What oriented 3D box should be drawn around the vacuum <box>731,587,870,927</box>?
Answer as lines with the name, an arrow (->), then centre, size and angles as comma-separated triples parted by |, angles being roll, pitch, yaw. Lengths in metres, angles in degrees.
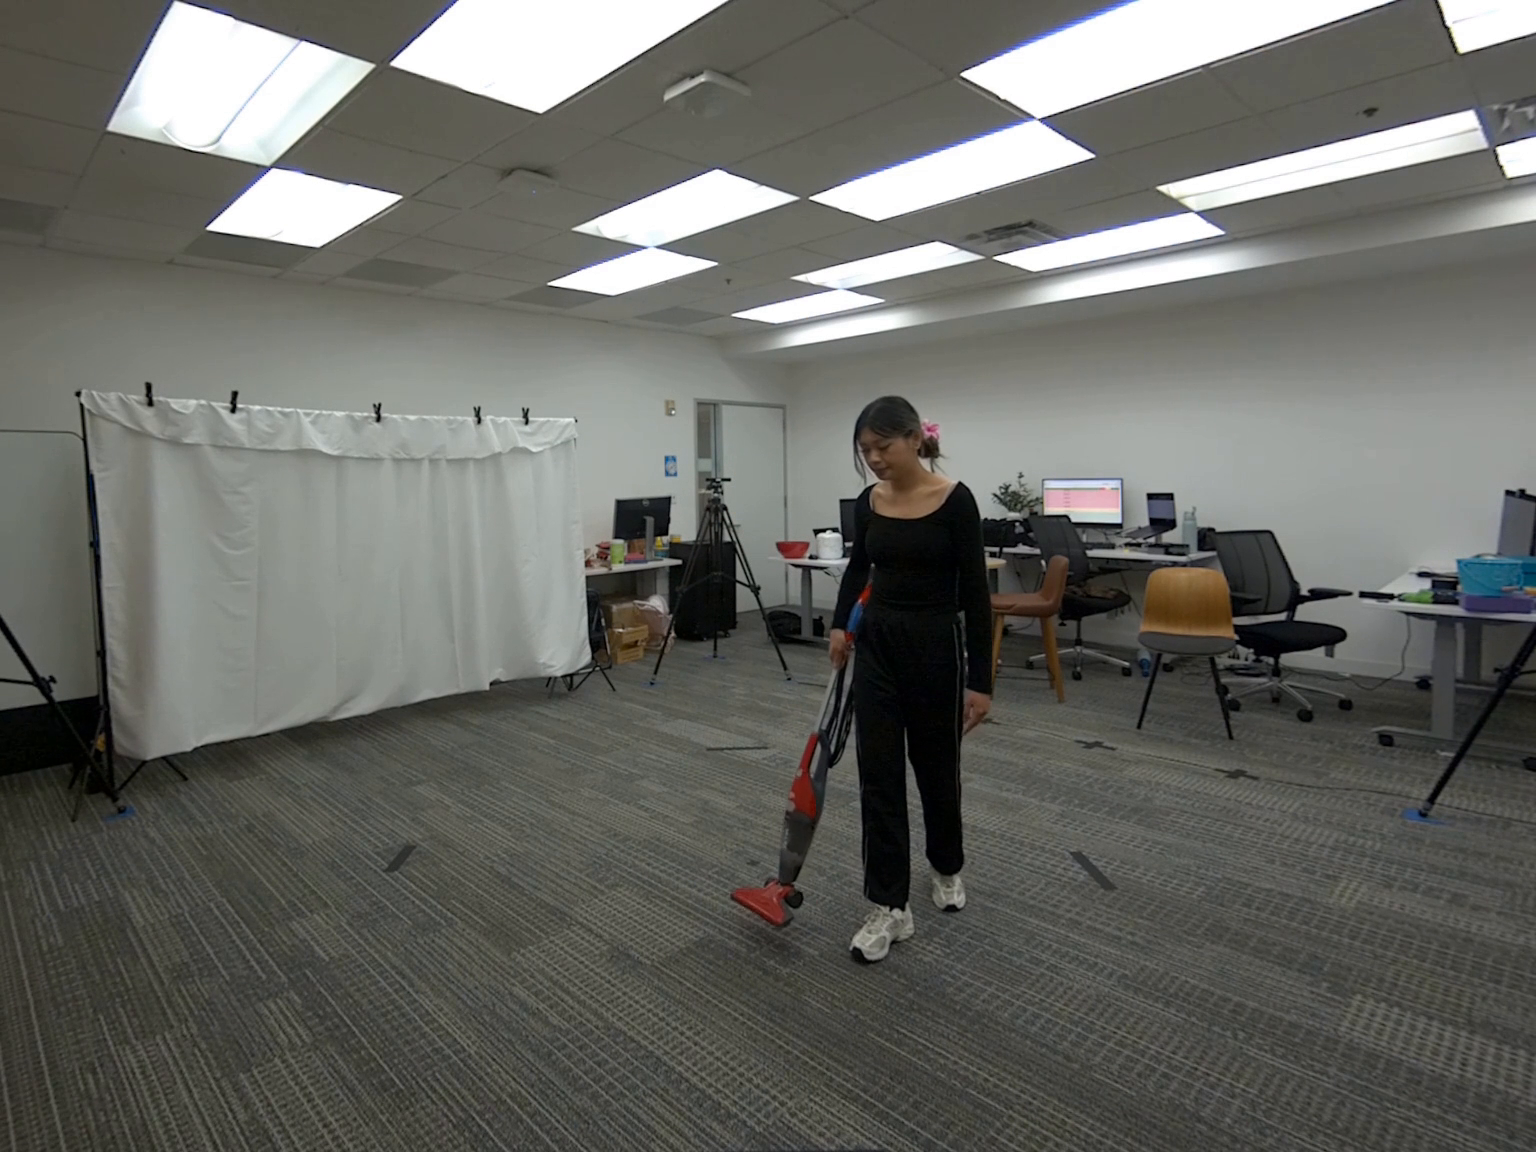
vacuum -> 0.175, 0.527, 2.700 | 0.139, 1.057, 0.259 | 26, -16, -33
